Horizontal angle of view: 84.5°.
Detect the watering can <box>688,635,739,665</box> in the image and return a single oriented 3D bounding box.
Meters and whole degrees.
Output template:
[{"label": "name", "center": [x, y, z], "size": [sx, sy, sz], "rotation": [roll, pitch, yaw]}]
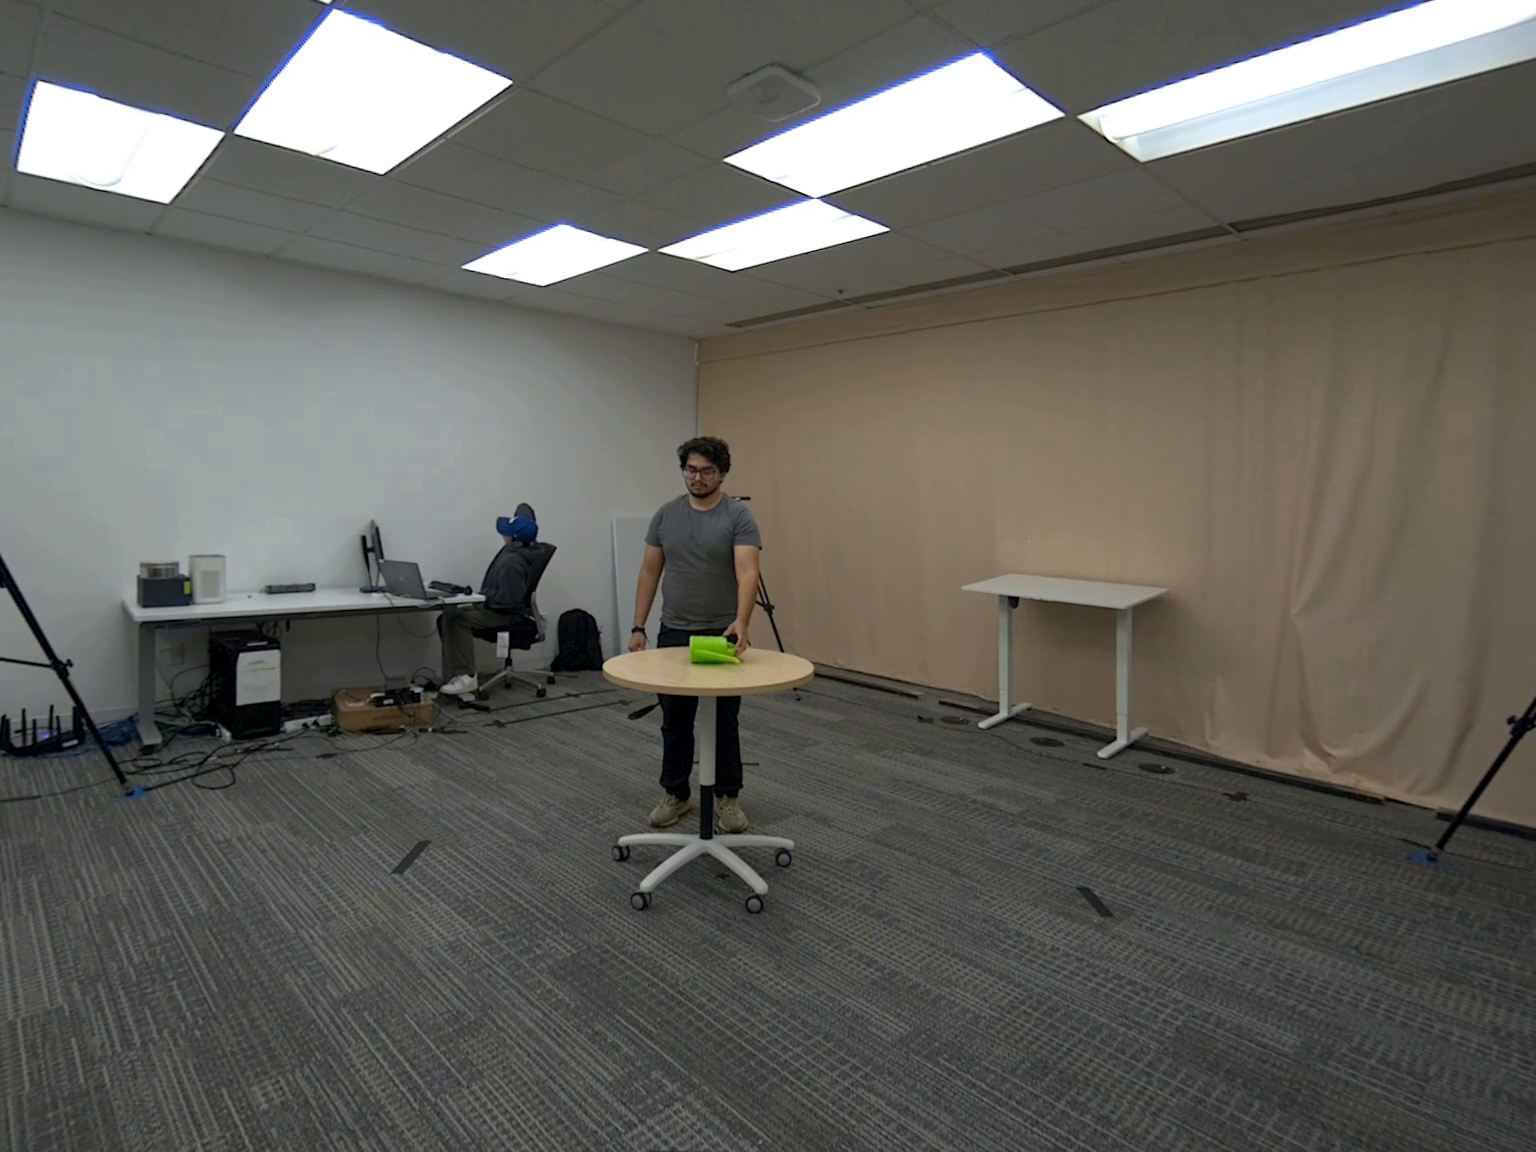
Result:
[{"label": "watering can", "center": [-0.217, 0.270, 3.073], "size": [0.176, 0.098, 0.278], "rotation": [0, -2, -5]}]
